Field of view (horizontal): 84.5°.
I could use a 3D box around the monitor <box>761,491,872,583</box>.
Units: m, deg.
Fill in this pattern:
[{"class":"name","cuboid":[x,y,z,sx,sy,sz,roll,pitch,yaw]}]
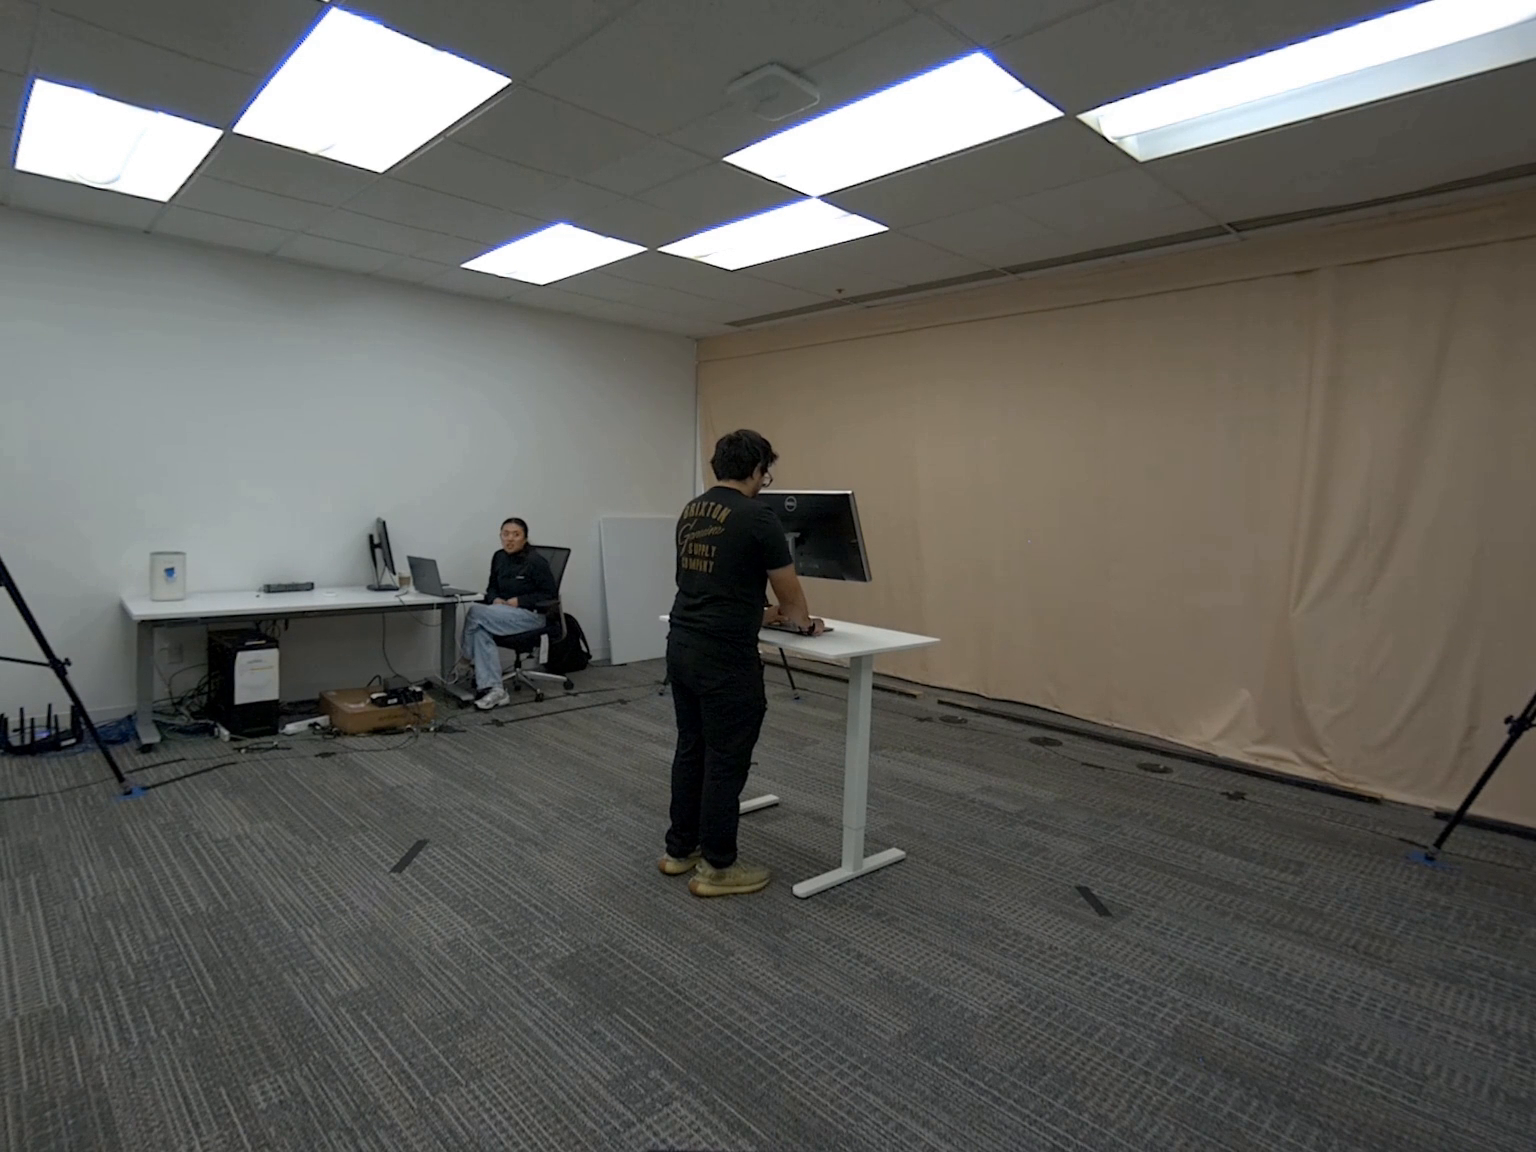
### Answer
[{"class":"monitor","cuboid":[0.095,-0.057,3.287,0.580,0.548,0.207,6,18,44]}]
